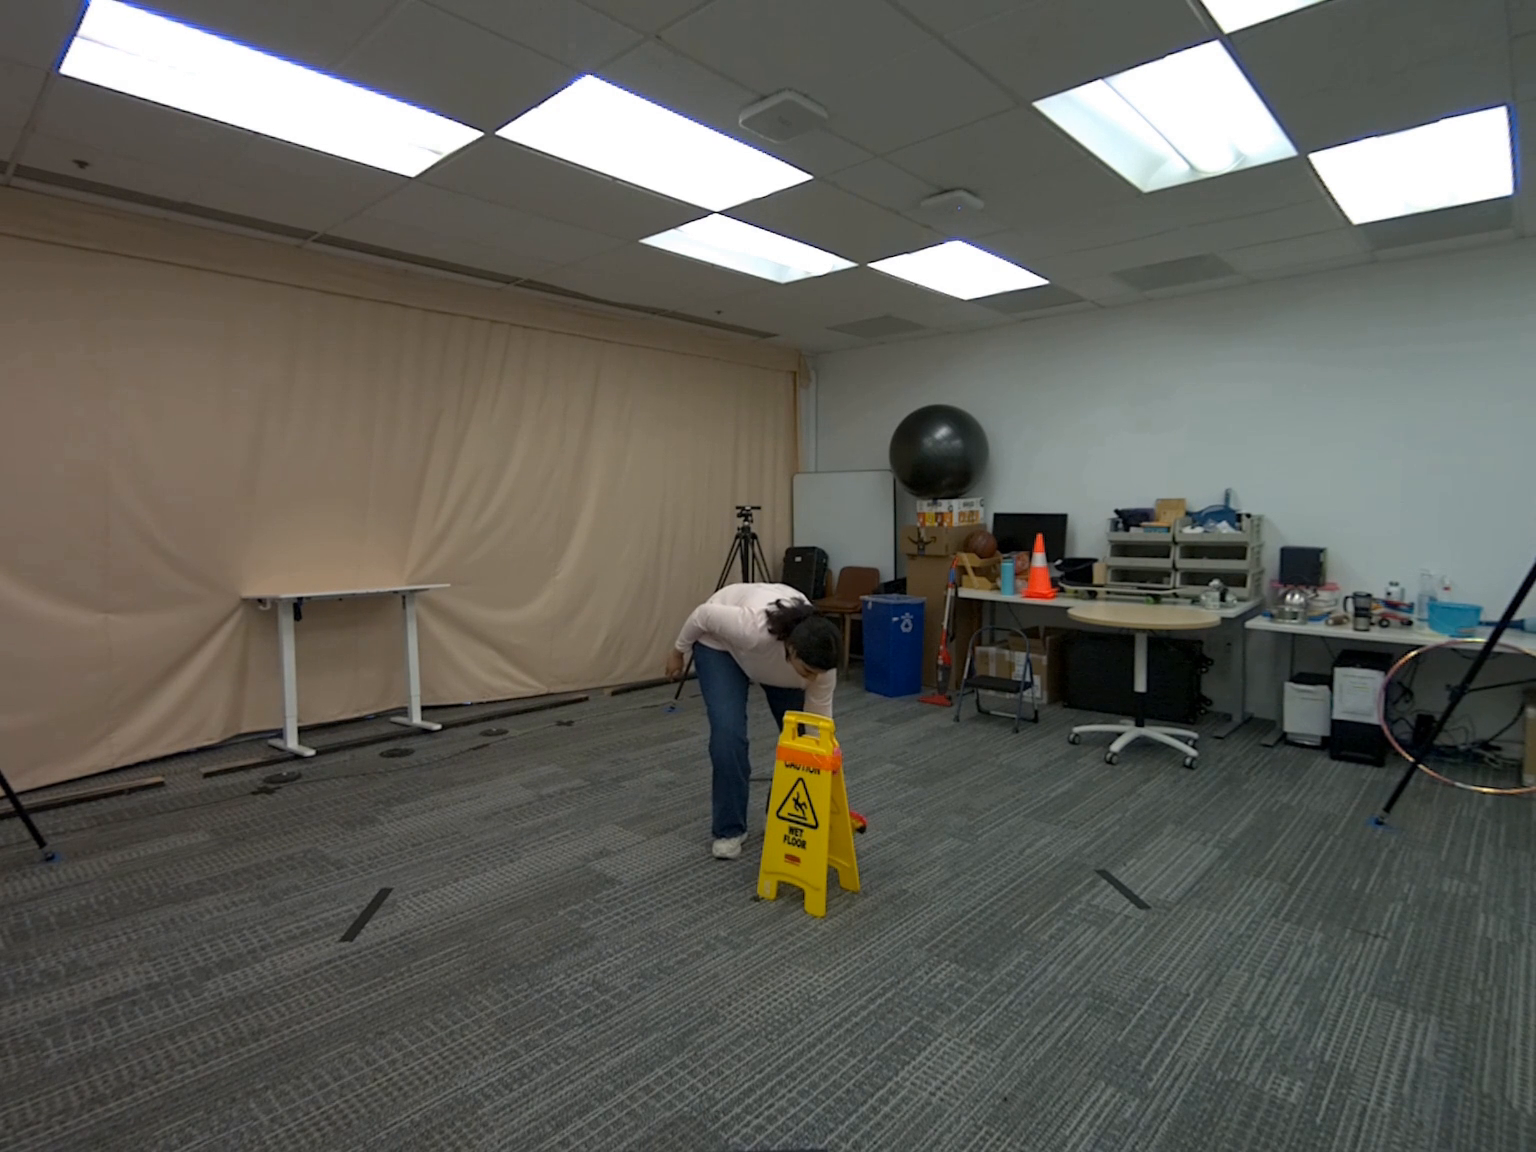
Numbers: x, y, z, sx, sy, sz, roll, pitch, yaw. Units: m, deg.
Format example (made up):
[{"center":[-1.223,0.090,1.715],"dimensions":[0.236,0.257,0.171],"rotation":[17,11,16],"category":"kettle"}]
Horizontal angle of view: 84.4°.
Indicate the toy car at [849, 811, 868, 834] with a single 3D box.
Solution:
[{"center":[0.279,0.963,3.199],"dimensions":[0.129,0.083,0.257],"rotation":[33,-37,-11],"category":"toy car"}]
